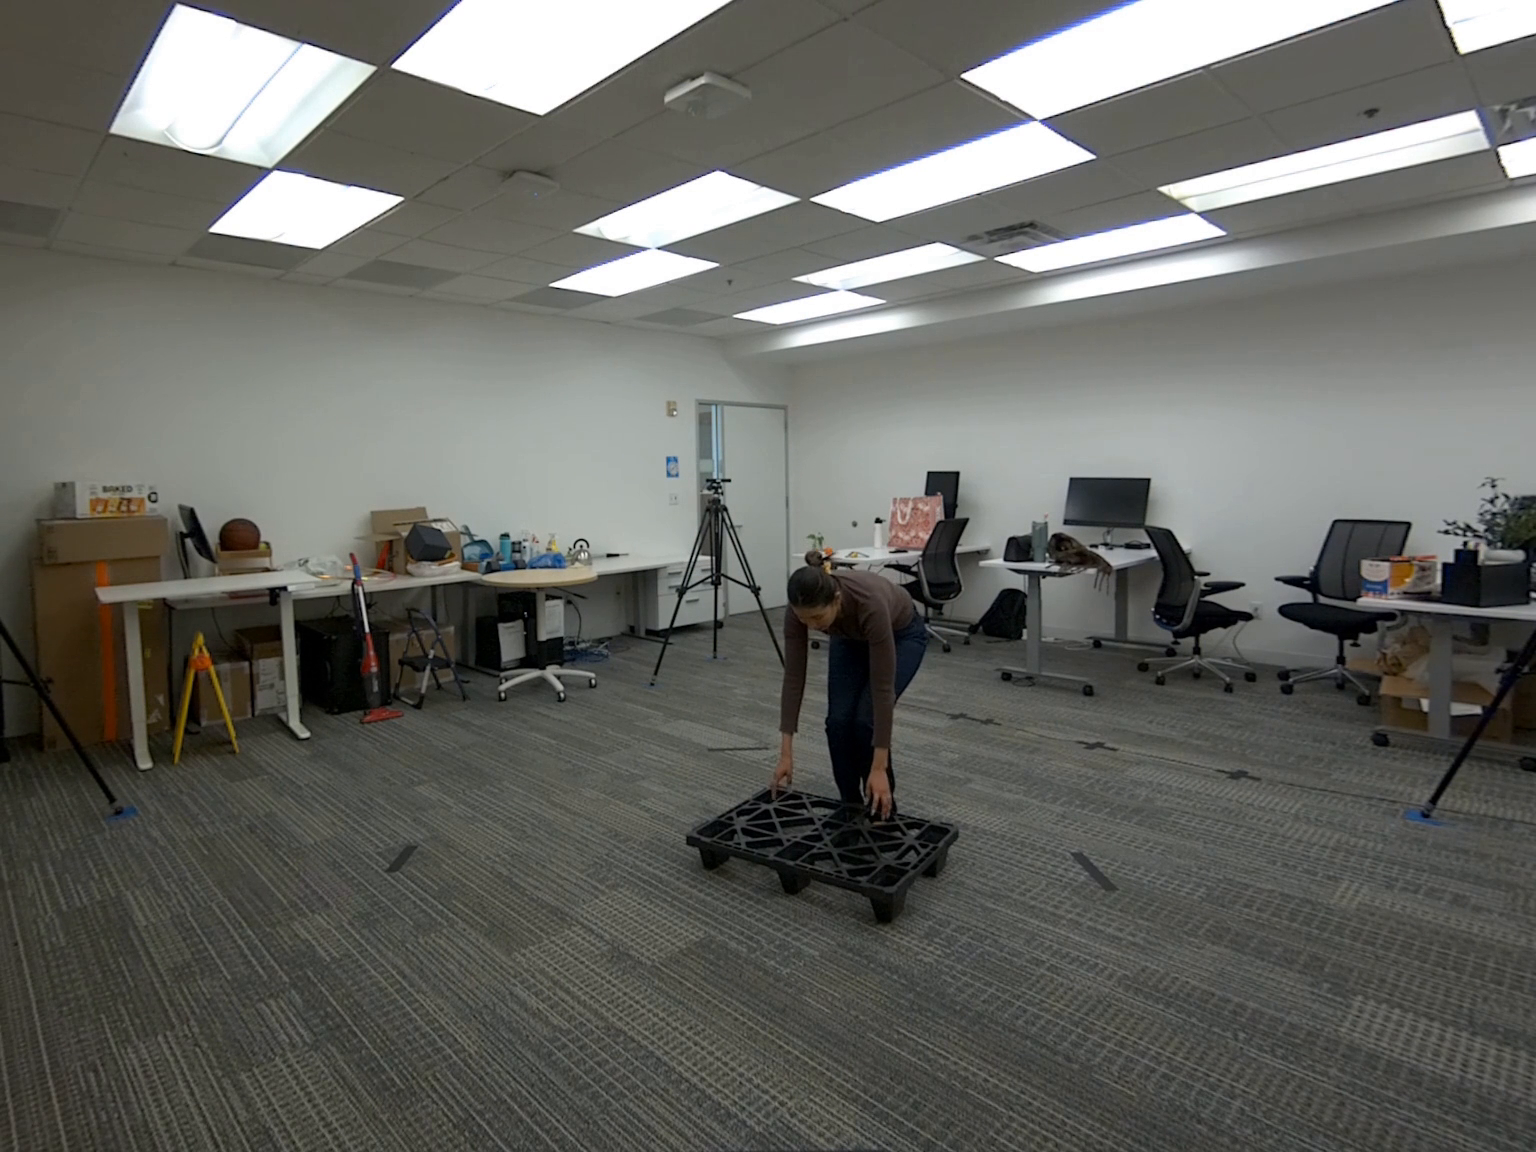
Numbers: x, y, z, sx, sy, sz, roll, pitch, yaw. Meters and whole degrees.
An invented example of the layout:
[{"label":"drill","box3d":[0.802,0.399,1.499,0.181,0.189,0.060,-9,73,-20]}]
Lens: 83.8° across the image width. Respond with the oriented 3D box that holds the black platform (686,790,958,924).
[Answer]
[{"label":"black platform","box3d":[0.198,0.979,3.058,0.828,0.142,0.591,3,8,34]}]
